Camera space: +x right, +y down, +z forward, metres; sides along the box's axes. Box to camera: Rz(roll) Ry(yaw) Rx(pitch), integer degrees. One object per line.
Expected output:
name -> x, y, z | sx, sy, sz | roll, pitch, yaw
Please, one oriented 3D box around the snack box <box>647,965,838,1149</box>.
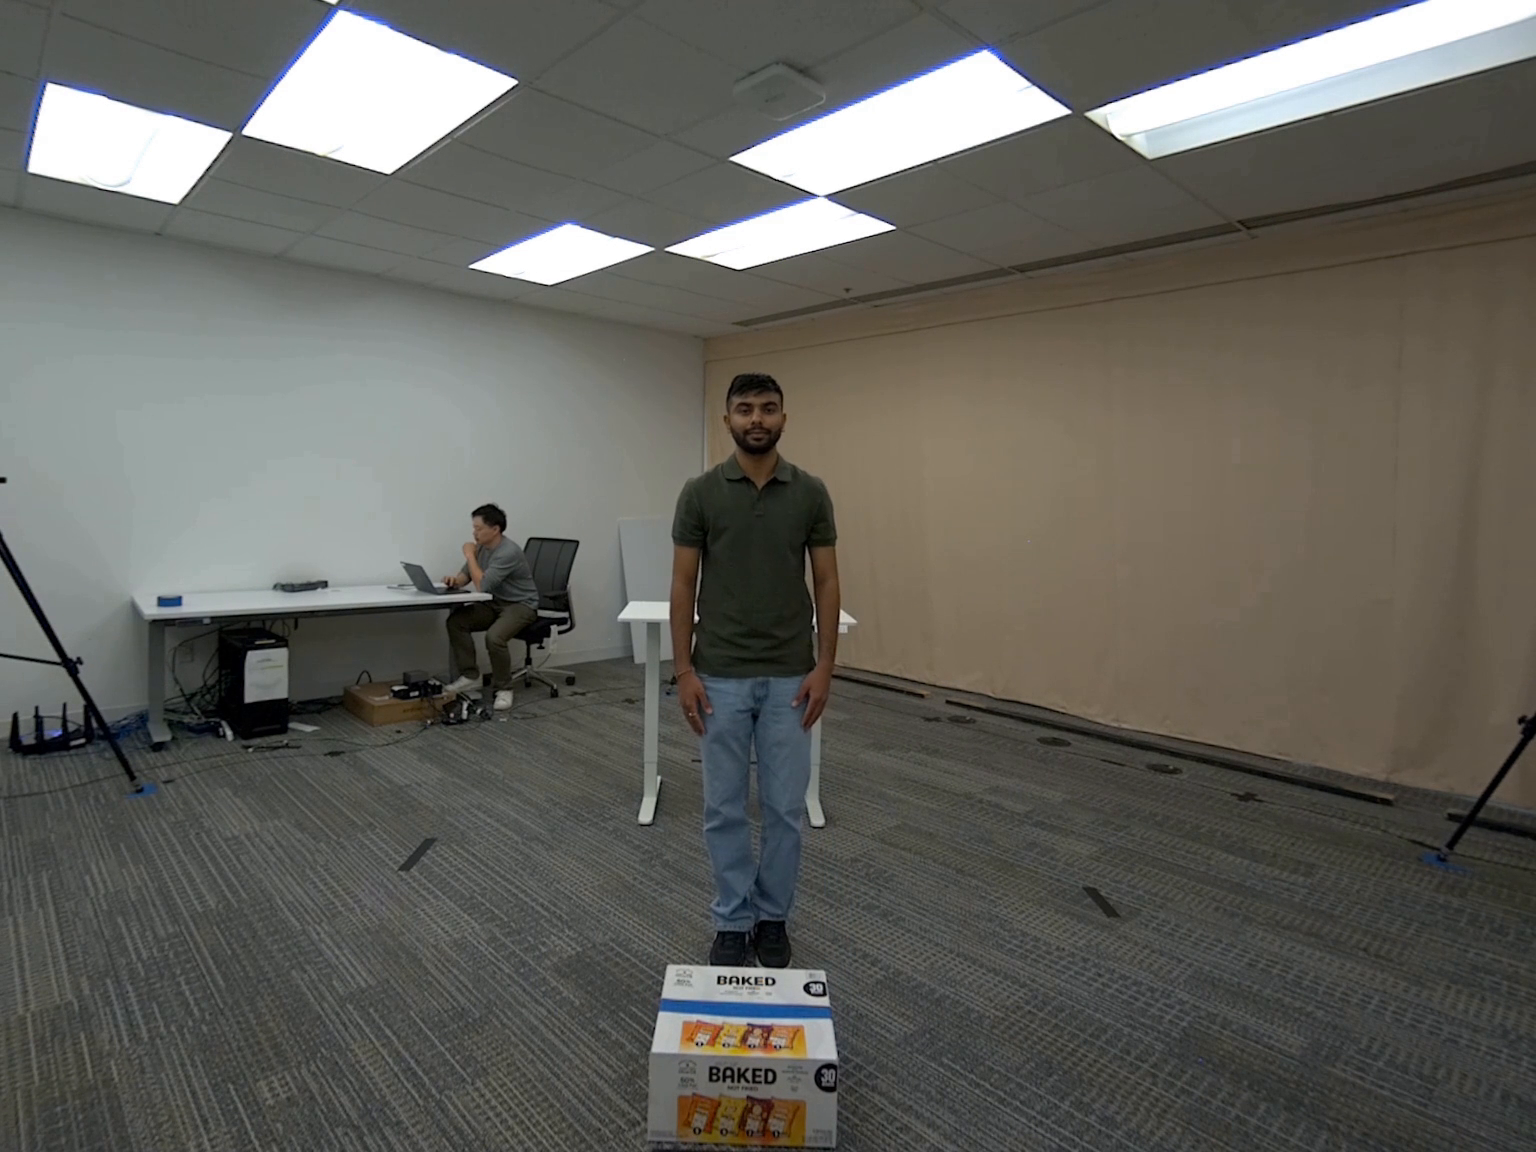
snack box -> -0.064, 1.113, 1.958 | 0.405, 0.205, 0.341 | 1, 4, 0
